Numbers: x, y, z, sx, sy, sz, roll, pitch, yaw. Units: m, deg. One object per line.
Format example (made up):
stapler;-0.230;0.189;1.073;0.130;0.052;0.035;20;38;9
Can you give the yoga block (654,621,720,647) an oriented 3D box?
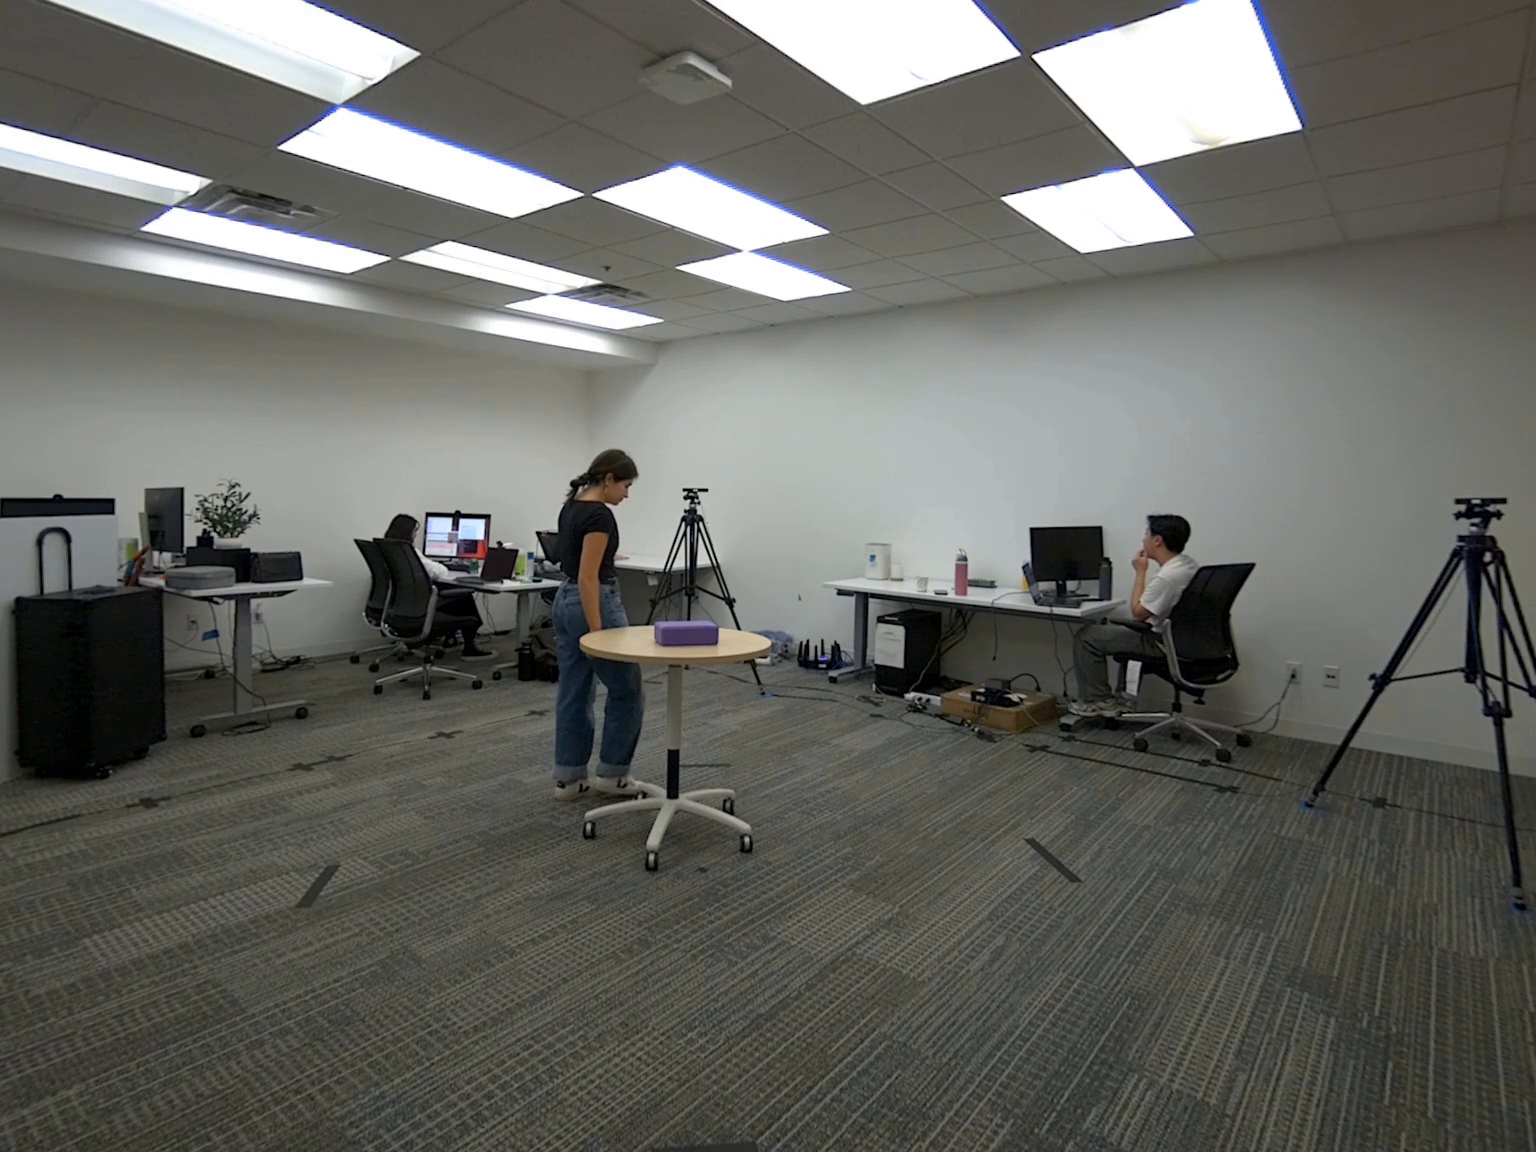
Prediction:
yoga block;-0.316;0.219;3.352;0.226;0.076;0.152;-1;5;-15
